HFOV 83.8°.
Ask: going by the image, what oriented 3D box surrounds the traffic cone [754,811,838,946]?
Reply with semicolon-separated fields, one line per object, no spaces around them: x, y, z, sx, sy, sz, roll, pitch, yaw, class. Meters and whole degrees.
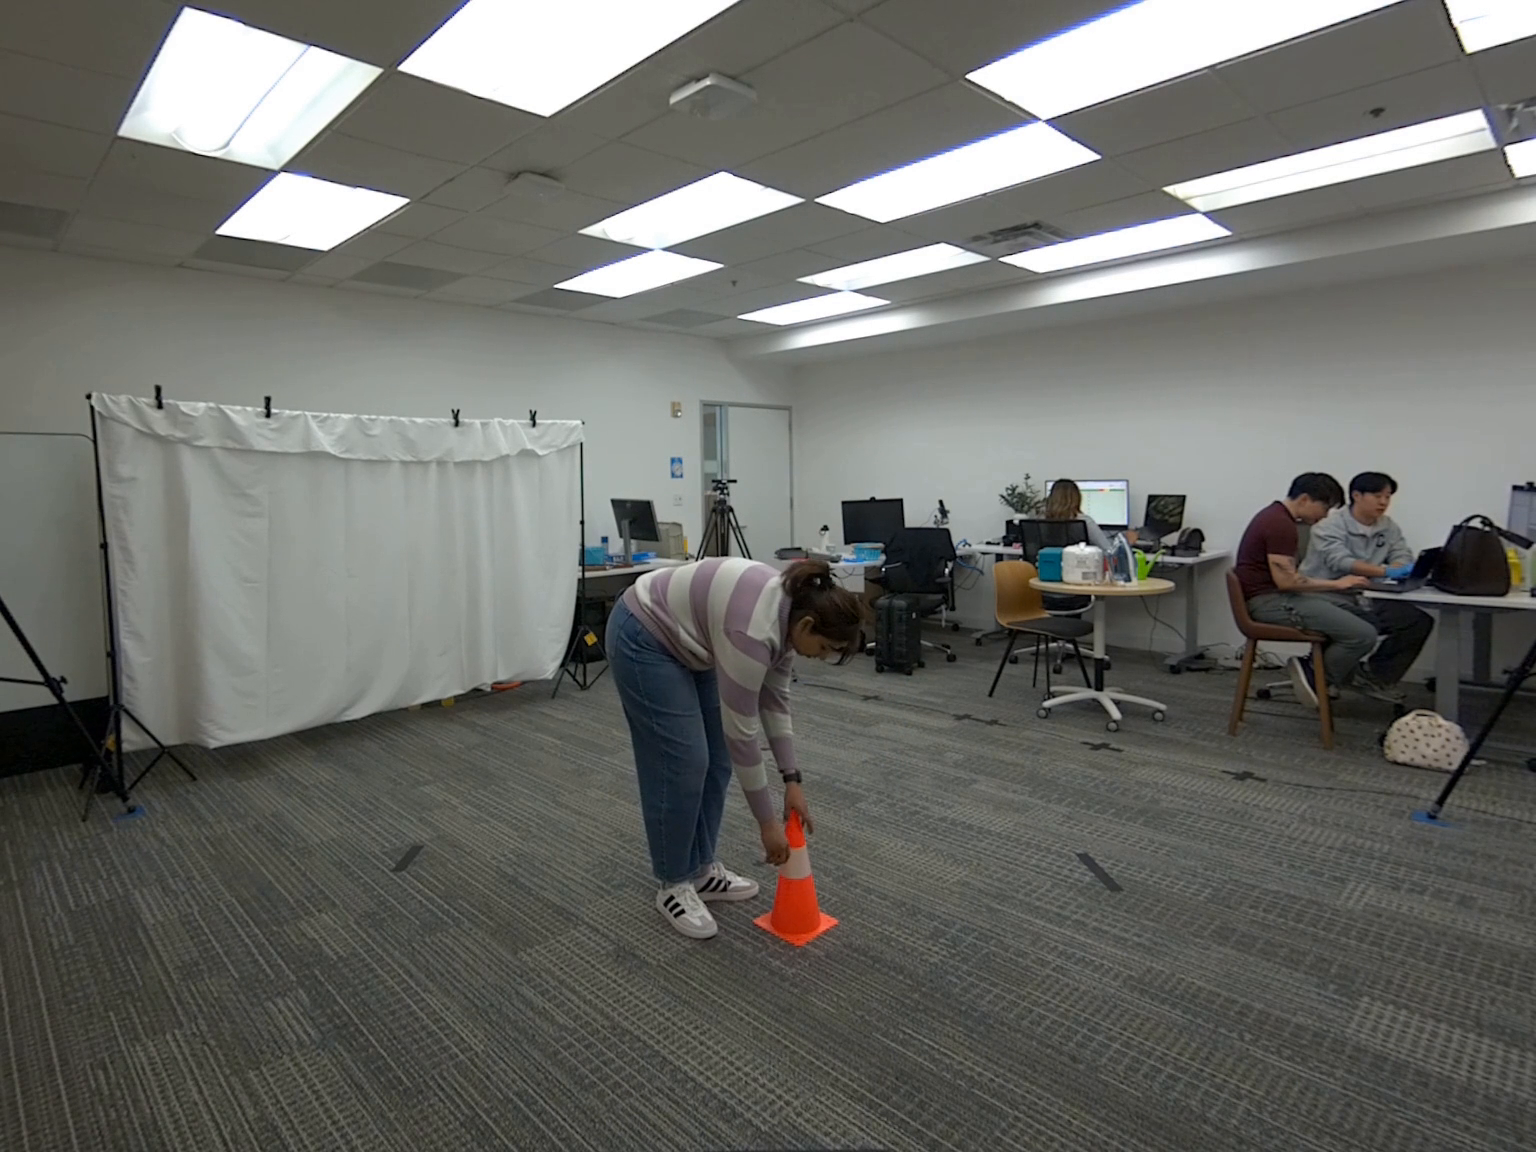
0.083;0.900;2.686;0.211;0.382;0.198;3;6;44;traffic cone
